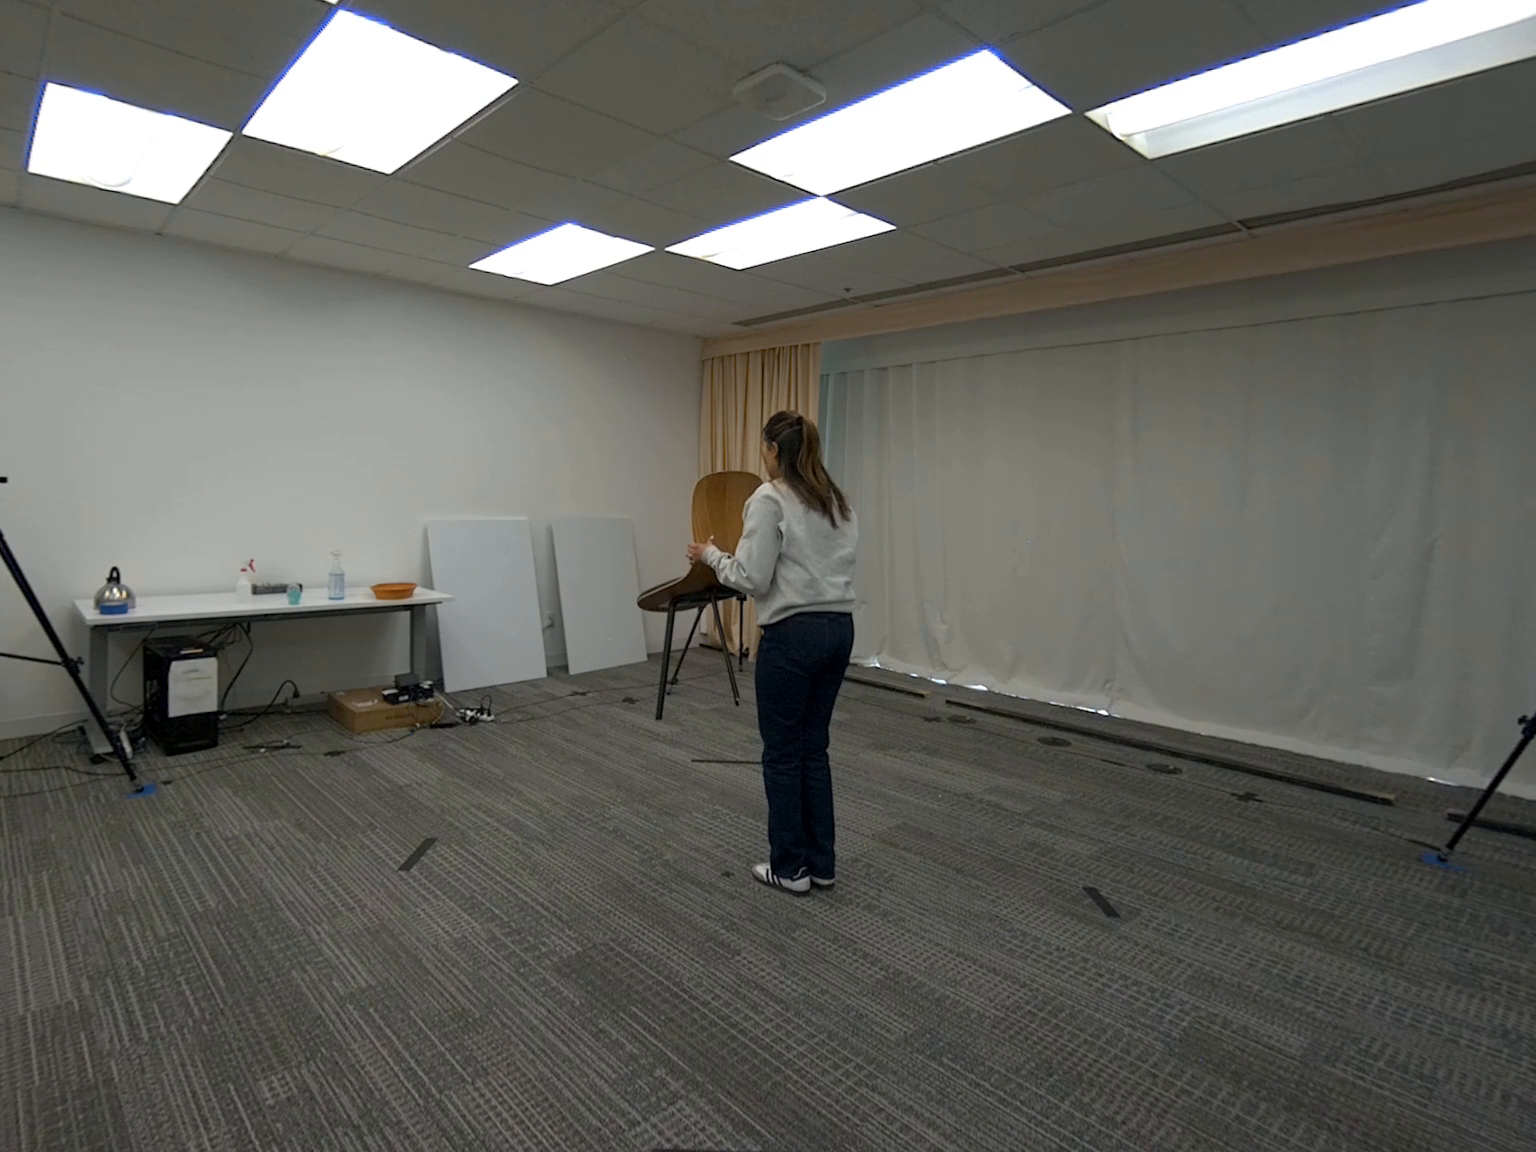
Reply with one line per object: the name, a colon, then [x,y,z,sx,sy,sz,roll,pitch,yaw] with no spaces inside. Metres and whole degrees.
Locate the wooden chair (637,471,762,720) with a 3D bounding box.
wooden chair: [-0.227,0.086,3.316,0.531,0.884,0.467,-17,-11,41]
